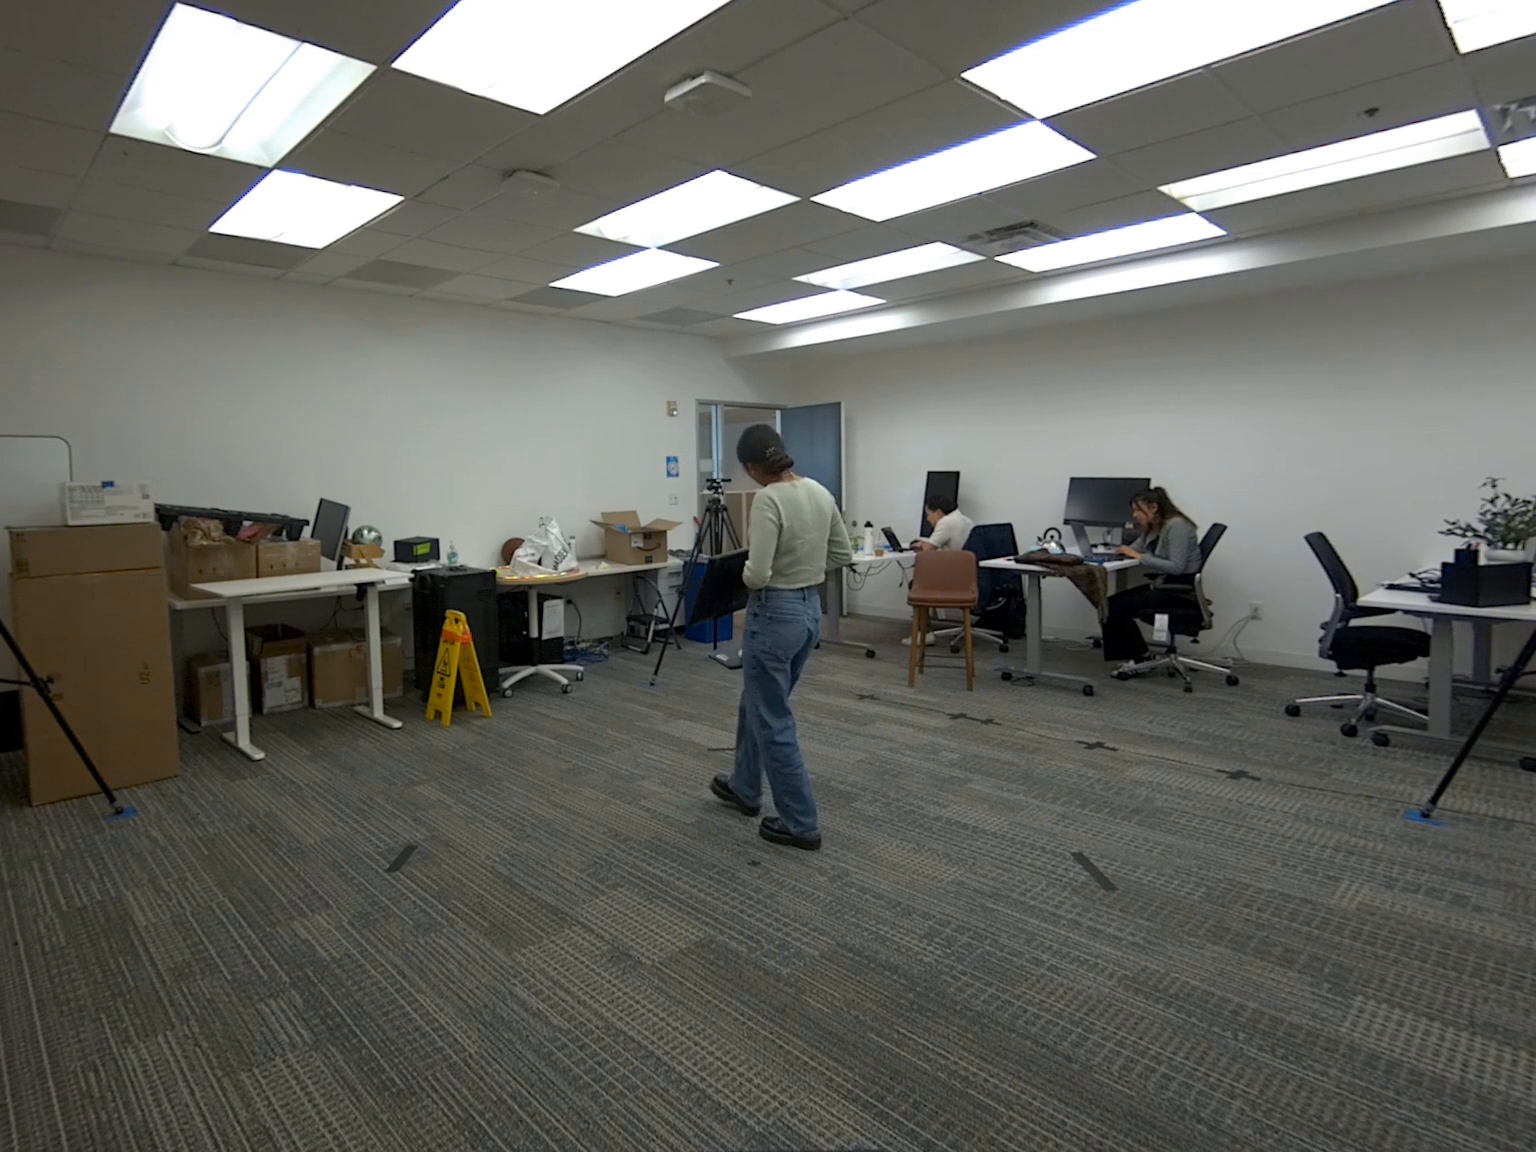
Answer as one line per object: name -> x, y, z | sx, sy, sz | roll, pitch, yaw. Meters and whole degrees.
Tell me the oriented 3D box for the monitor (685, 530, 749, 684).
monitor -> -0.058, 0.089, 3.448 | 0.519, 0.507, 0.181 | -16, 31, -40
